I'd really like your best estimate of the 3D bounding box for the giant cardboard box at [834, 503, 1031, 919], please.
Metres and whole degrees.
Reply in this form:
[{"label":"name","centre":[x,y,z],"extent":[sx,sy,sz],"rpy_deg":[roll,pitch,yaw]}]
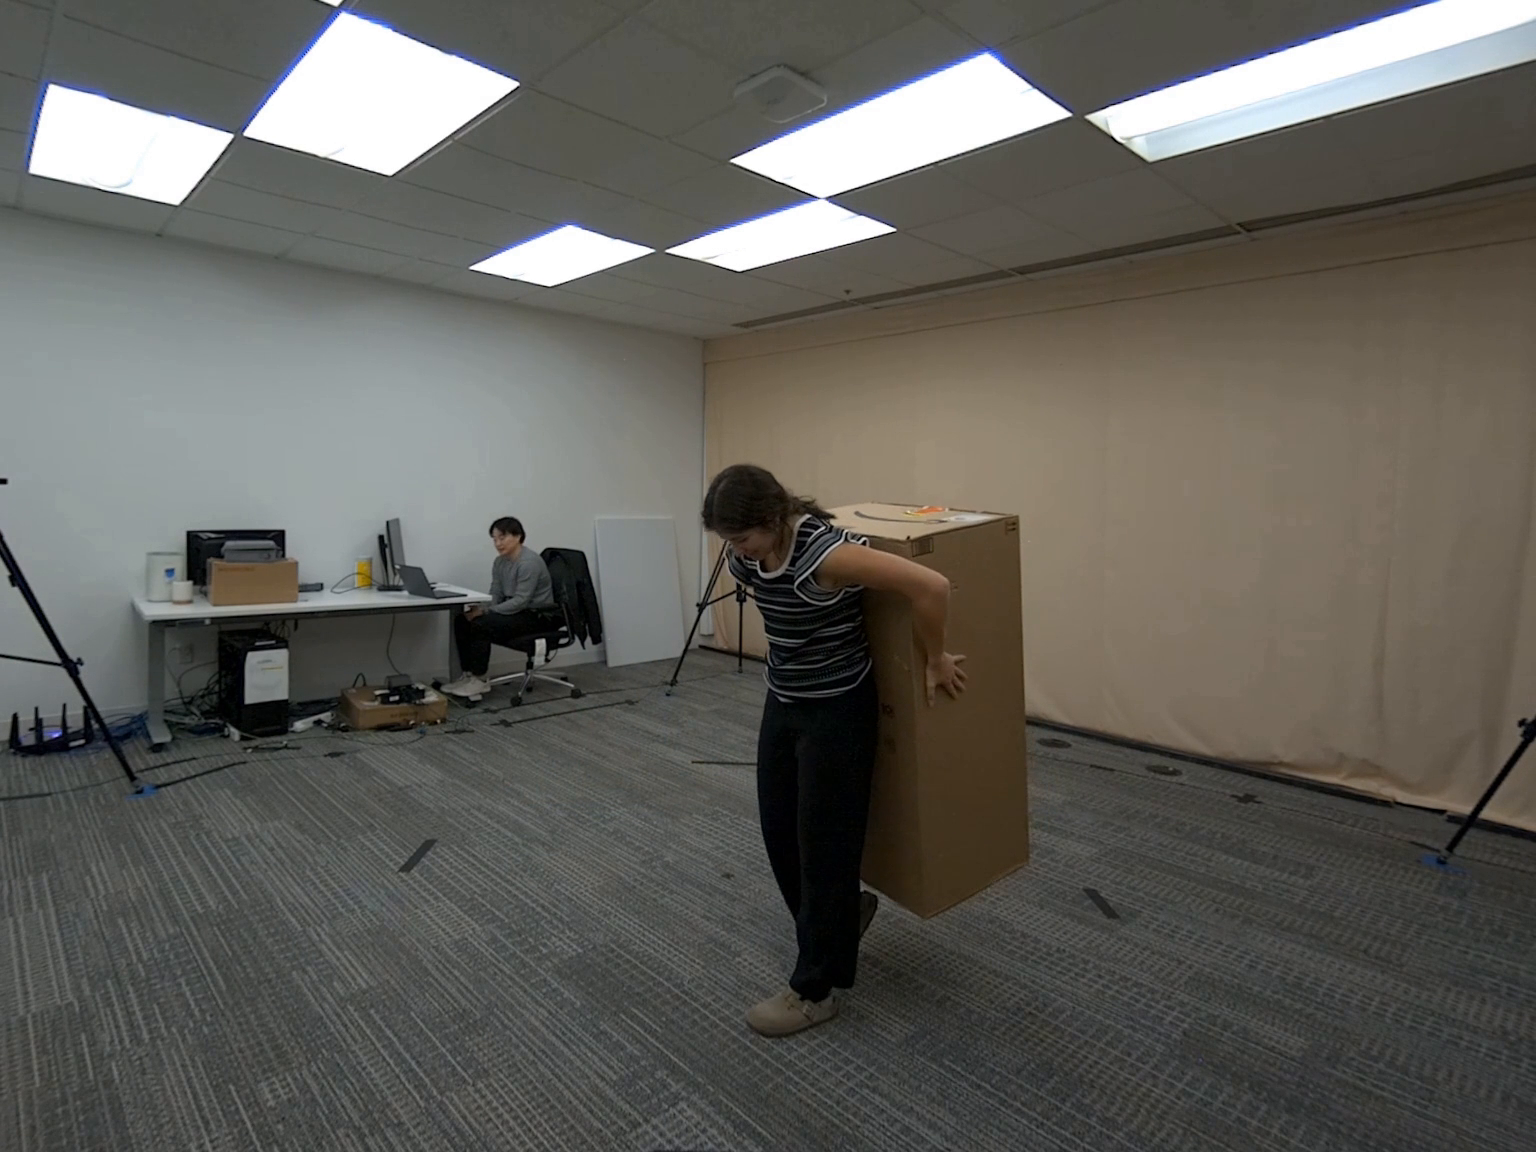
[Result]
[{"label":"giant cardboard box","centre":[0.382,0.336,2.477],"extent":[0.419,1.018,0.592],"rpy_deg":[-11,12,-34]}]
